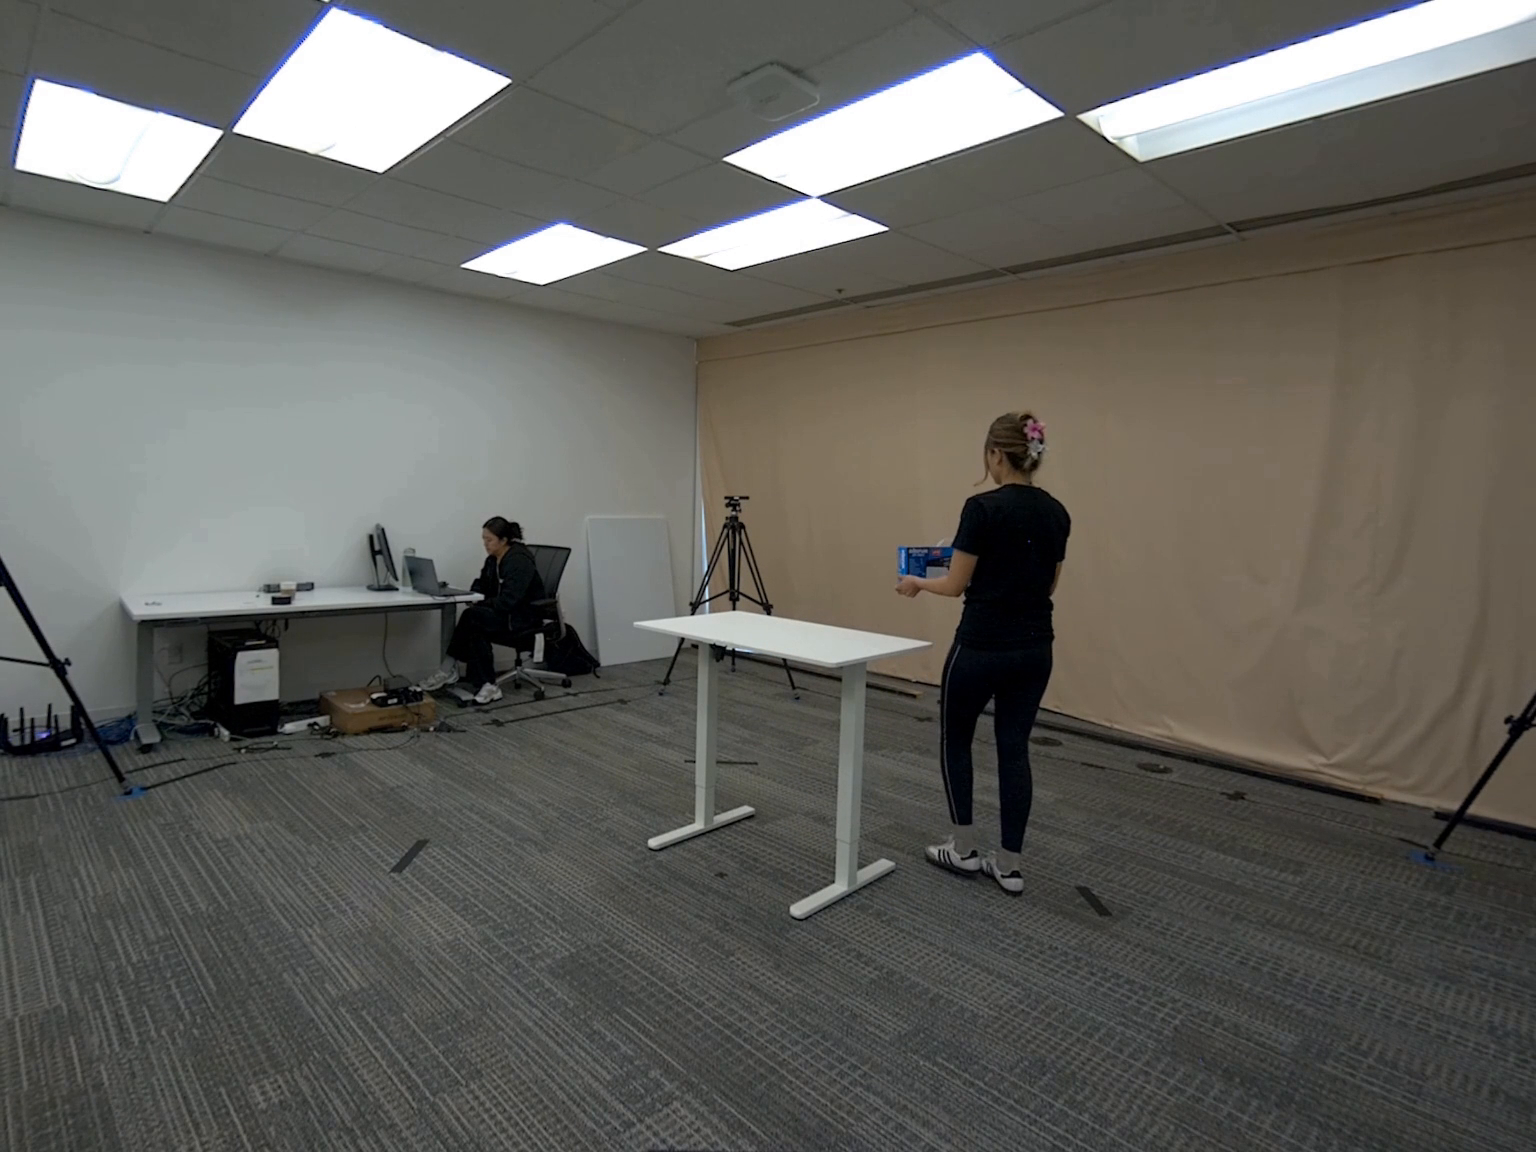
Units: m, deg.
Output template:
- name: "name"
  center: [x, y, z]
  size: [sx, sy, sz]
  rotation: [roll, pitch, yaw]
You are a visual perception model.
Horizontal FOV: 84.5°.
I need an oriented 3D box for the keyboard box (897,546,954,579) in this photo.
- name: "keyboard box"
  center: [0.727, -0.030, 3.421]
  size: [0.429, 0.176, 0.060]
  rotation: [-1, 1, -23]
